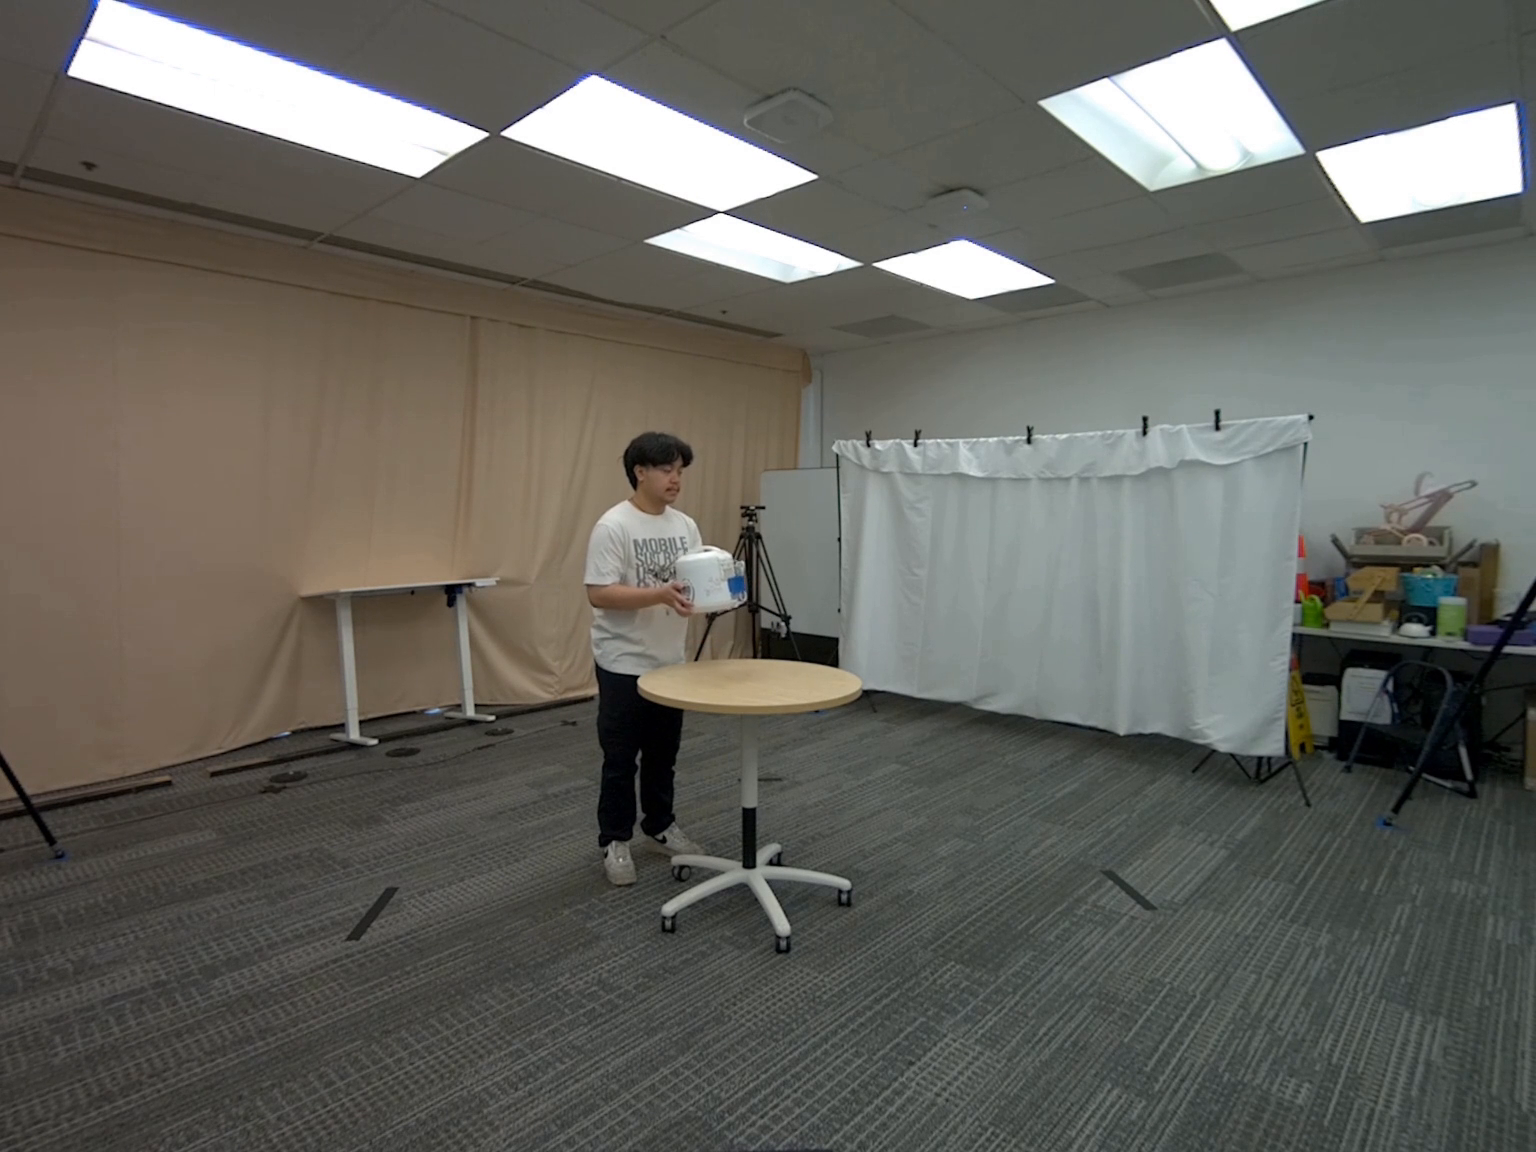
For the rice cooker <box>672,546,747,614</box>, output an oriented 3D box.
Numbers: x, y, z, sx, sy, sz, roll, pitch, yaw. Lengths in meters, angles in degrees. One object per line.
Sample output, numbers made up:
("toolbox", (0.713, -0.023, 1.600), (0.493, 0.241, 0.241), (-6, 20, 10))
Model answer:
("rice cooker", (-0.215, 0.010, 2.982), (0.227, 0.233, 0.211), (-9, -3, 39))
